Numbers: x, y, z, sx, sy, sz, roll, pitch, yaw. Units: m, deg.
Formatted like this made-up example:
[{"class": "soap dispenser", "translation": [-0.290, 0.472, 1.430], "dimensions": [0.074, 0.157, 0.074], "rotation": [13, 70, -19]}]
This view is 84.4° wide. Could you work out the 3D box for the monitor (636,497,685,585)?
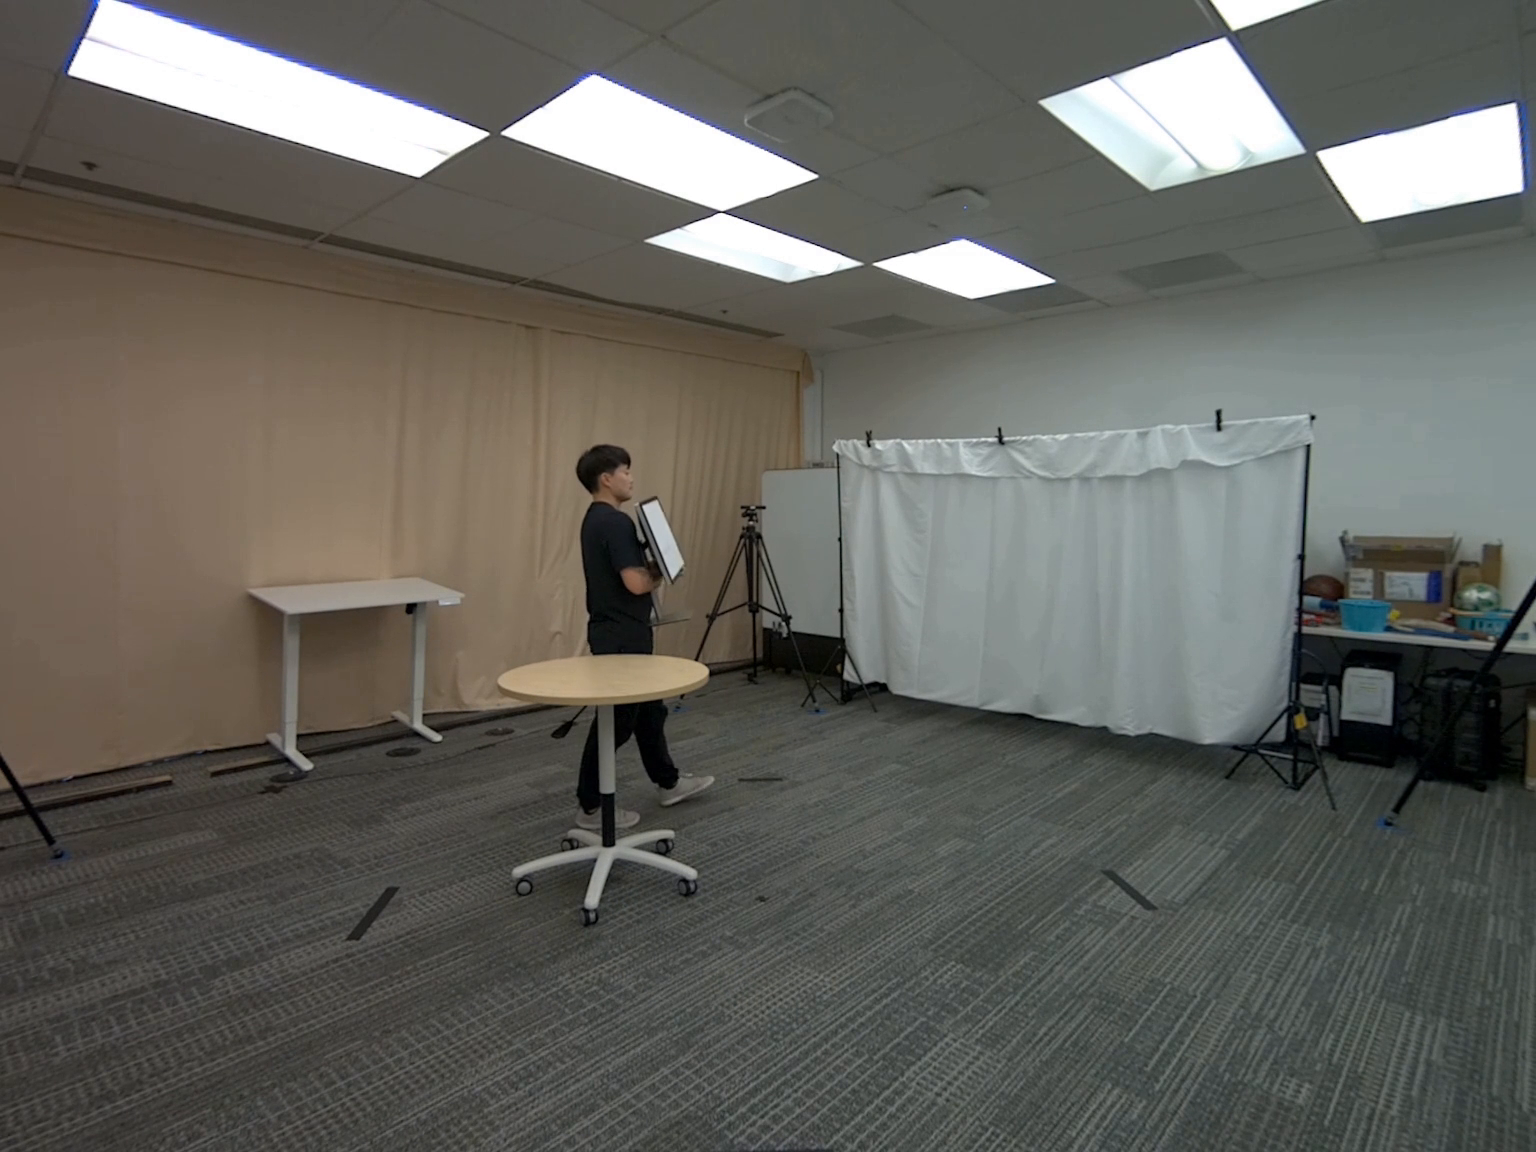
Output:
[{"class": "monitor", "translation": [-0.471, -0.071, 3.706], "dimensions": [0.187, 0.520, 0.541], "rotation": [-11, 7, 0]}]
